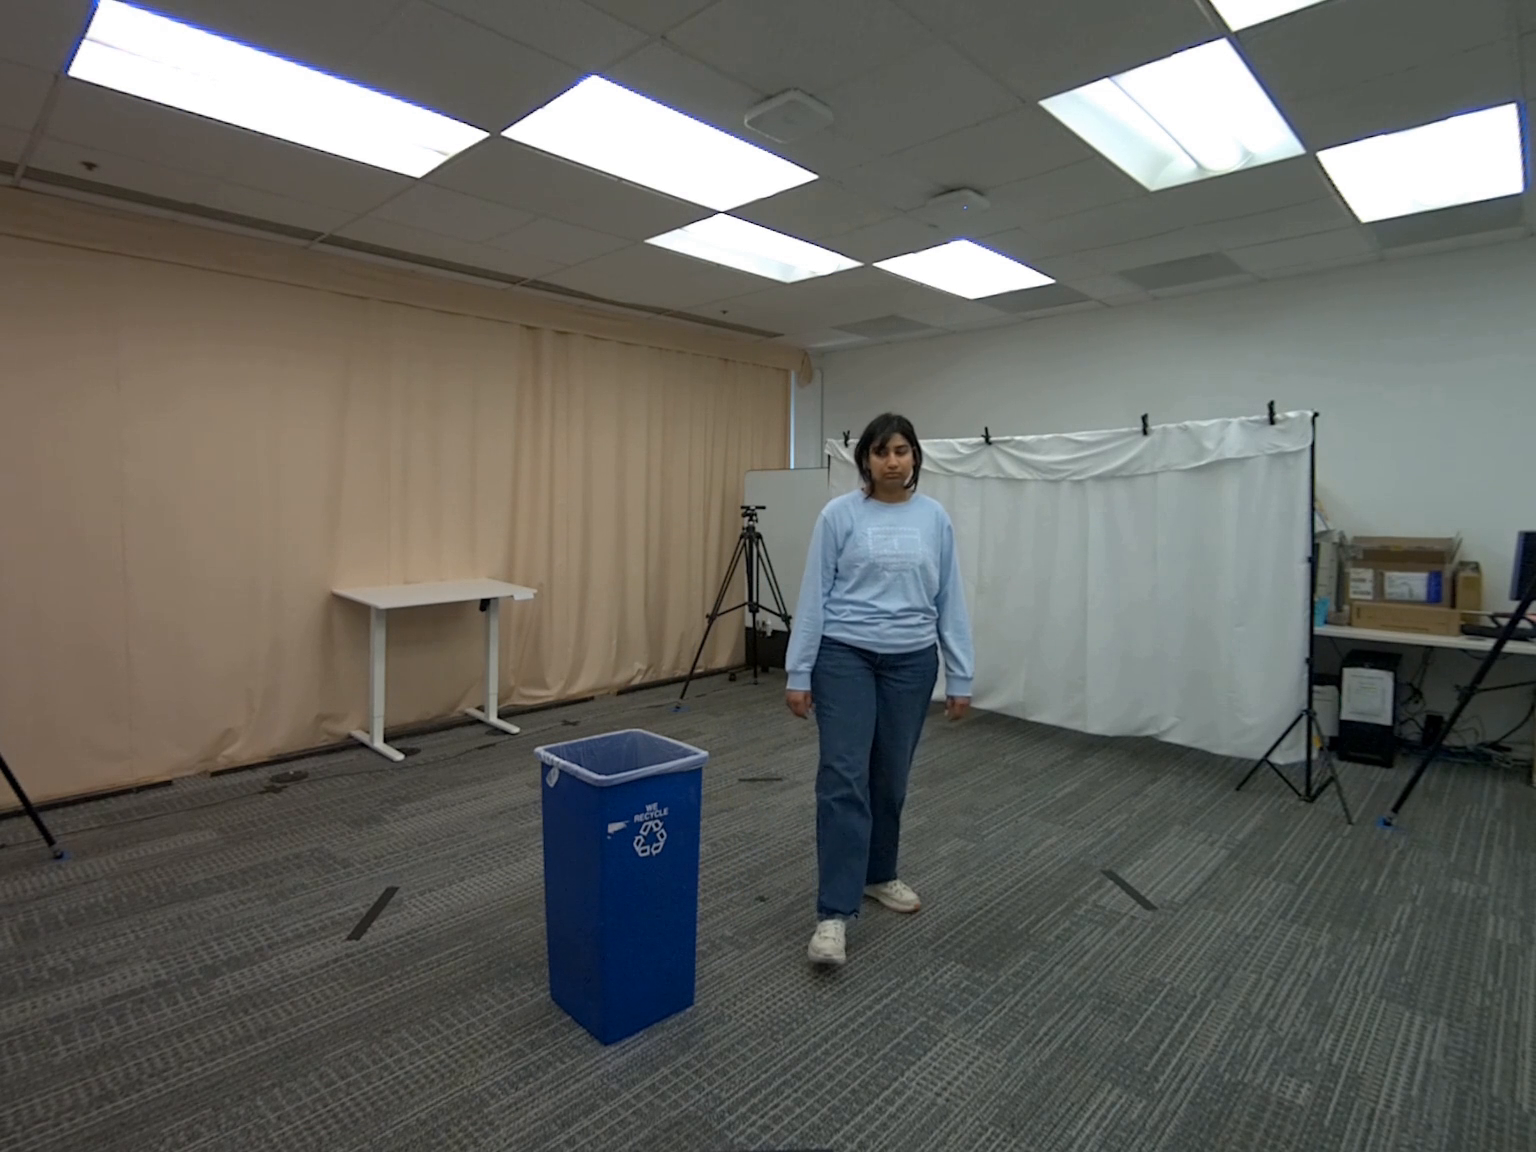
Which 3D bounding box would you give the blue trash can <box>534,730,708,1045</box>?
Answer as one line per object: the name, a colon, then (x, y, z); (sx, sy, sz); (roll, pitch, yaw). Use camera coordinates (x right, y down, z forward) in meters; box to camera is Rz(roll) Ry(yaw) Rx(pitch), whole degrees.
blue trash can: (-0.401, 0.843, 2.355); (0.366, 0.712, 0.386); (-2, 3, -43)
